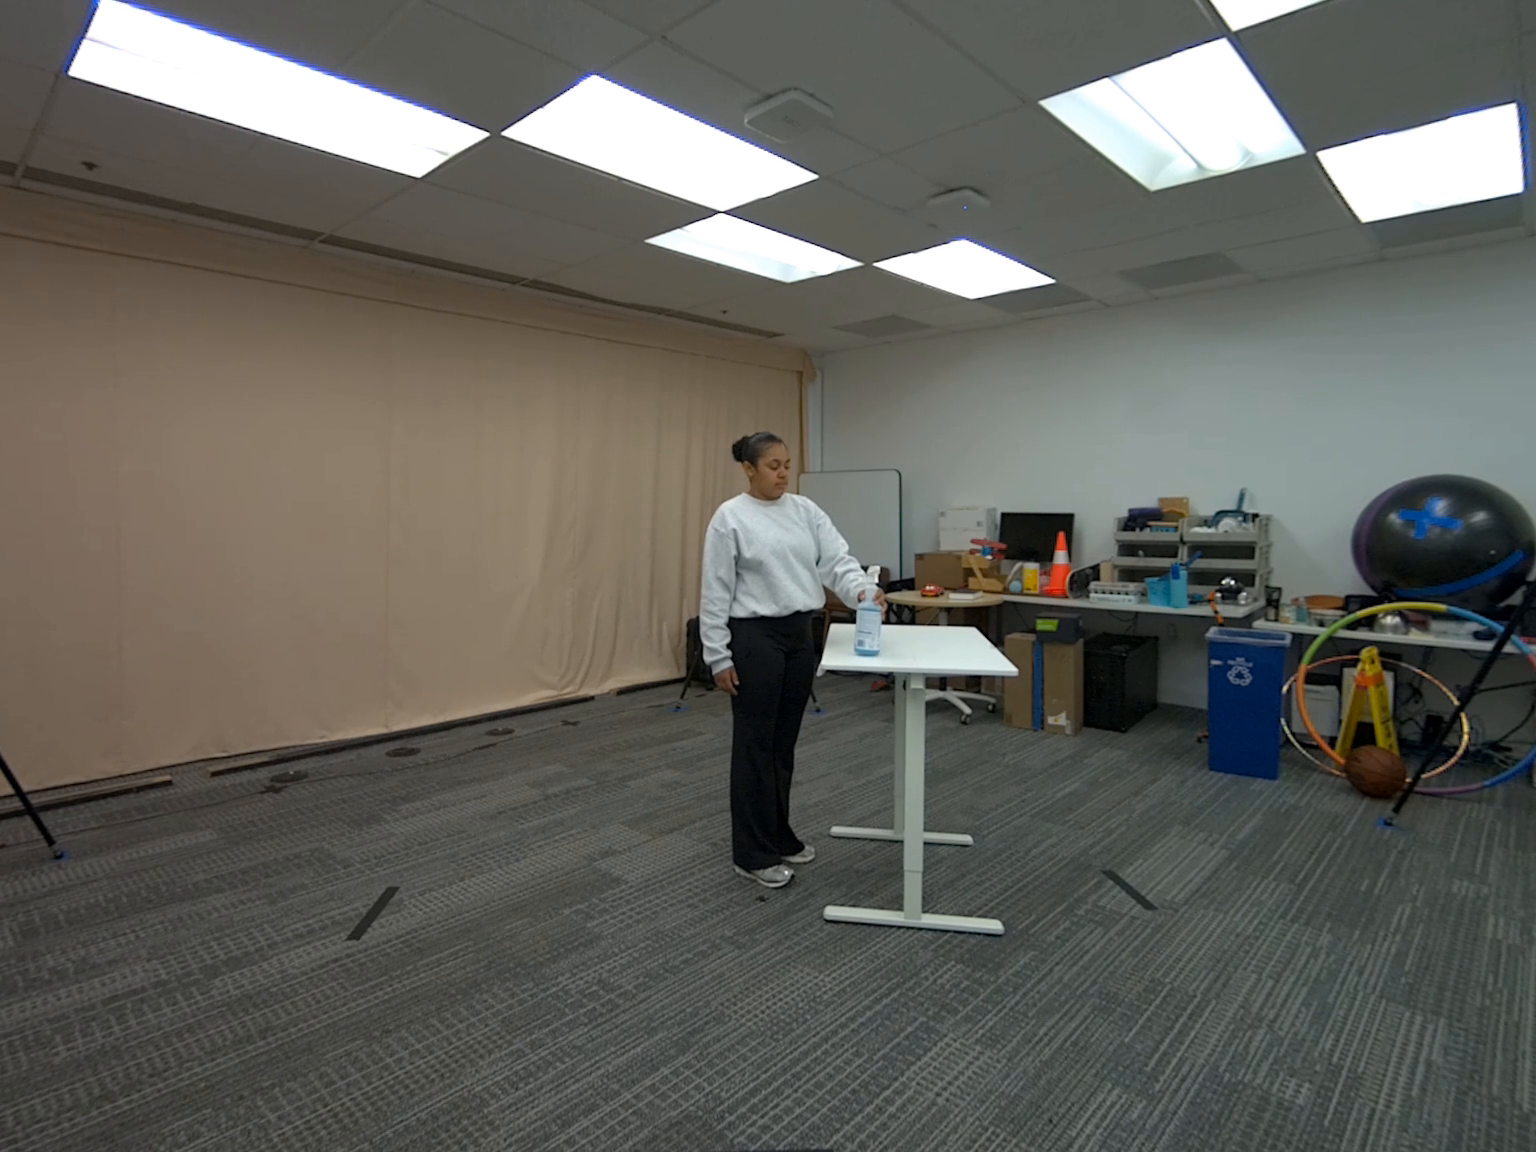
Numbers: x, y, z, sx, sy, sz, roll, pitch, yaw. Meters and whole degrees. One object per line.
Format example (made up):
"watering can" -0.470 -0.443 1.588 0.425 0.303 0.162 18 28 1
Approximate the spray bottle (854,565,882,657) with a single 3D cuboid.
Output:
"spray bottle" 0.352 0.108 2.863 0.088 0.297 0.088 4 2 15
